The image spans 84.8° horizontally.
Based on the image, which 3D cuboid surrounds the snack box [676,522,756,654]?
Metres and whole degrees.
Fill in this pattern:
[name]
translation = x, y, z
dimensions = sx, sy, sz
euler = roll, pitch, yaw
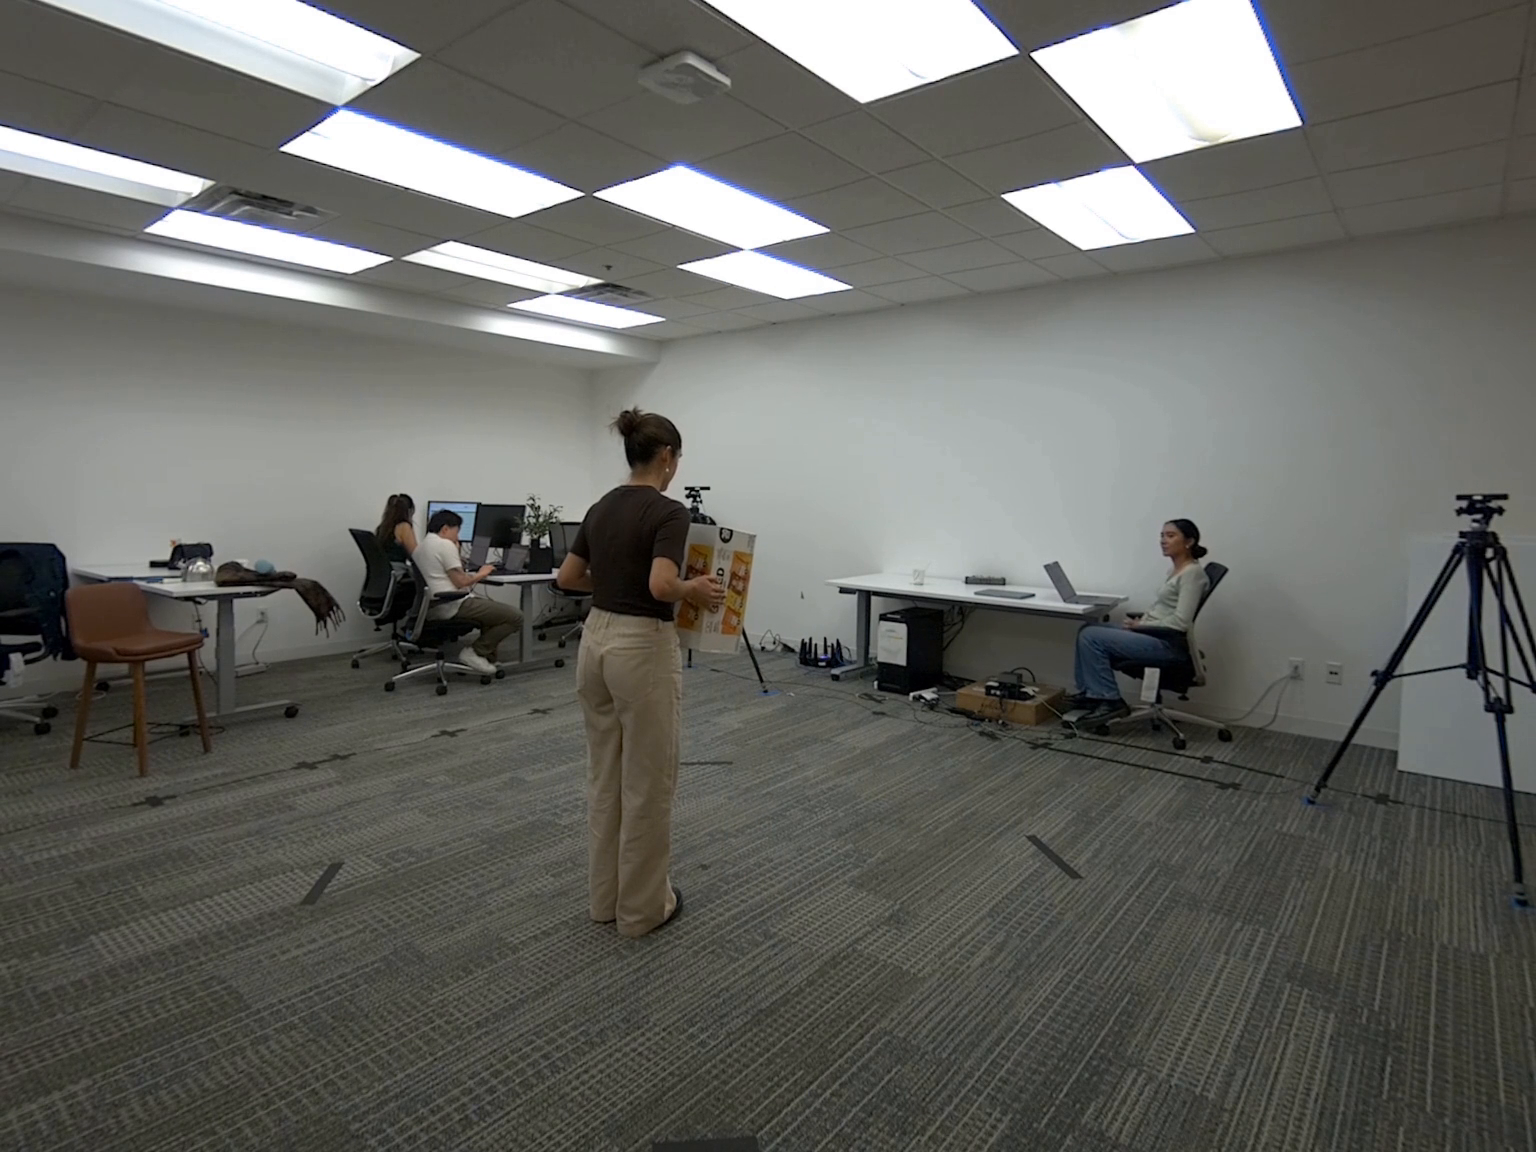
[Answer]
[snack box]
translation = -0.267, 0.032, 2.888
dimensions = 0.352, 0.406, 0.198
euler = 7, -4, 41
